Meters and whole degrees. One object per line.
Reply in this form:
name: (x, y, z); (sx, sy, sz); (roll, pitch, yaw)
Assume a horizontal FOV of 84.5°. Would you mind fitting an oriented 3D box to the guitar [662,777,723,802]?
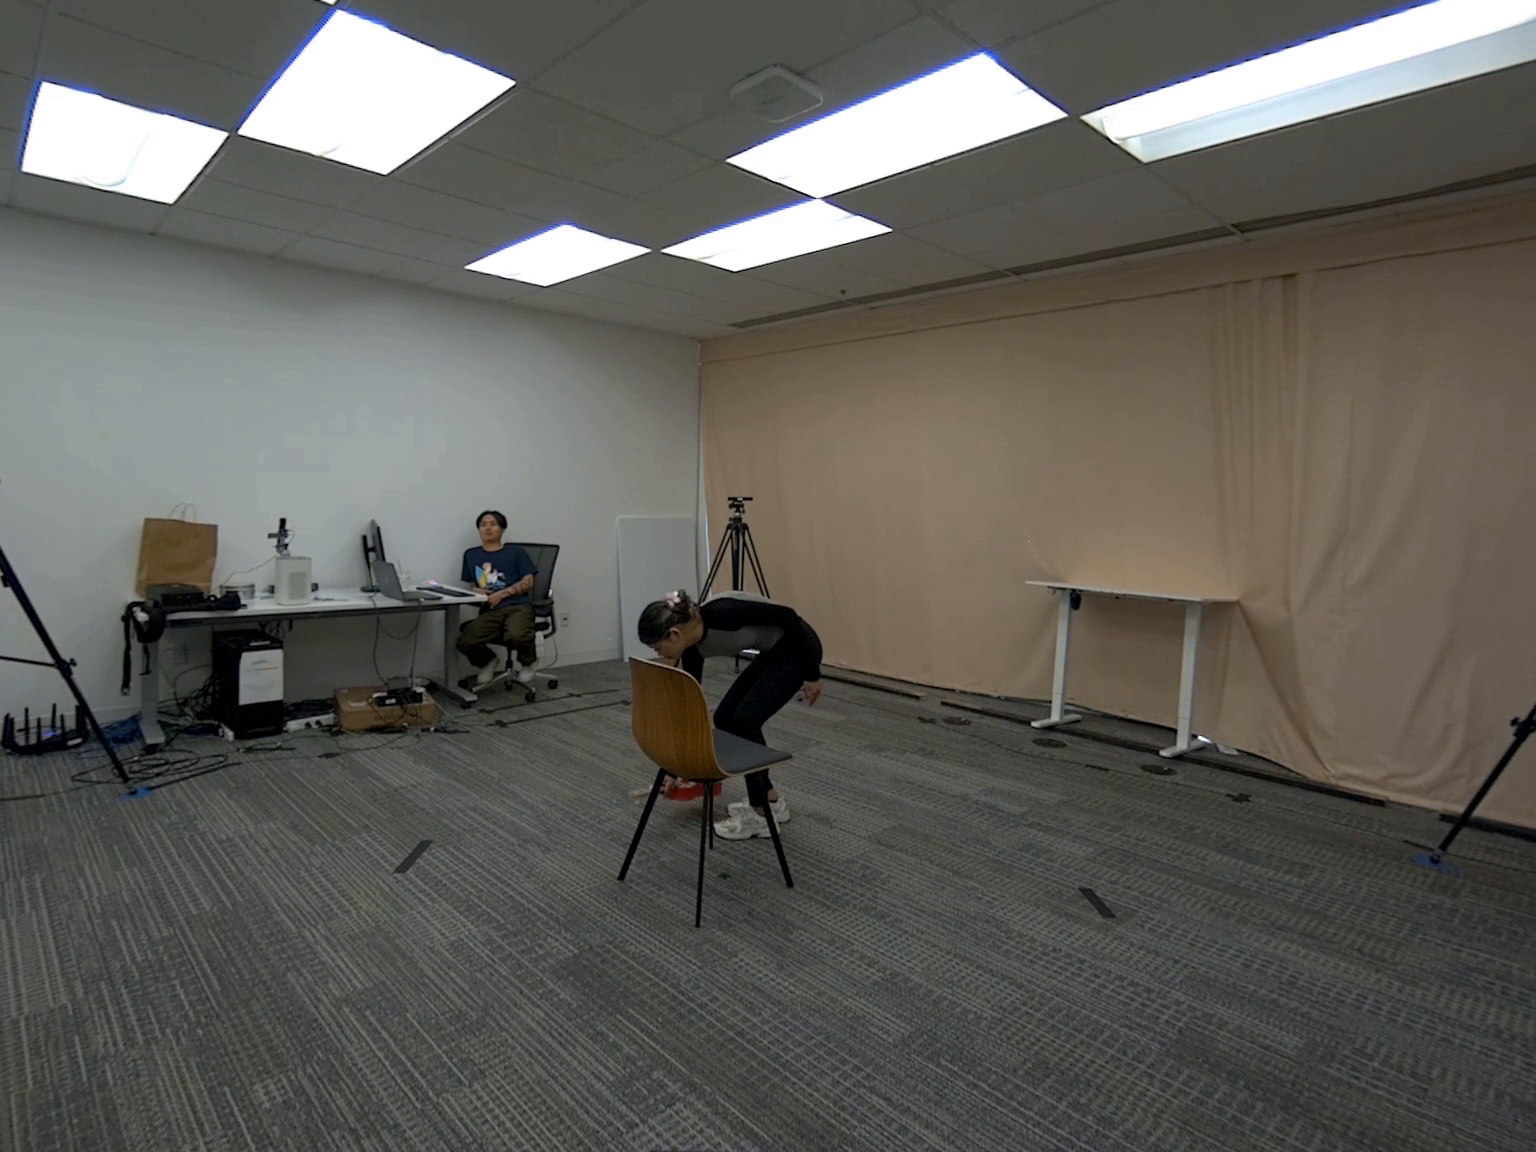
guitar: (-0.418, 0.906, 3.607); (0.485, 0.071, 0.198); (3, 0, -43)
